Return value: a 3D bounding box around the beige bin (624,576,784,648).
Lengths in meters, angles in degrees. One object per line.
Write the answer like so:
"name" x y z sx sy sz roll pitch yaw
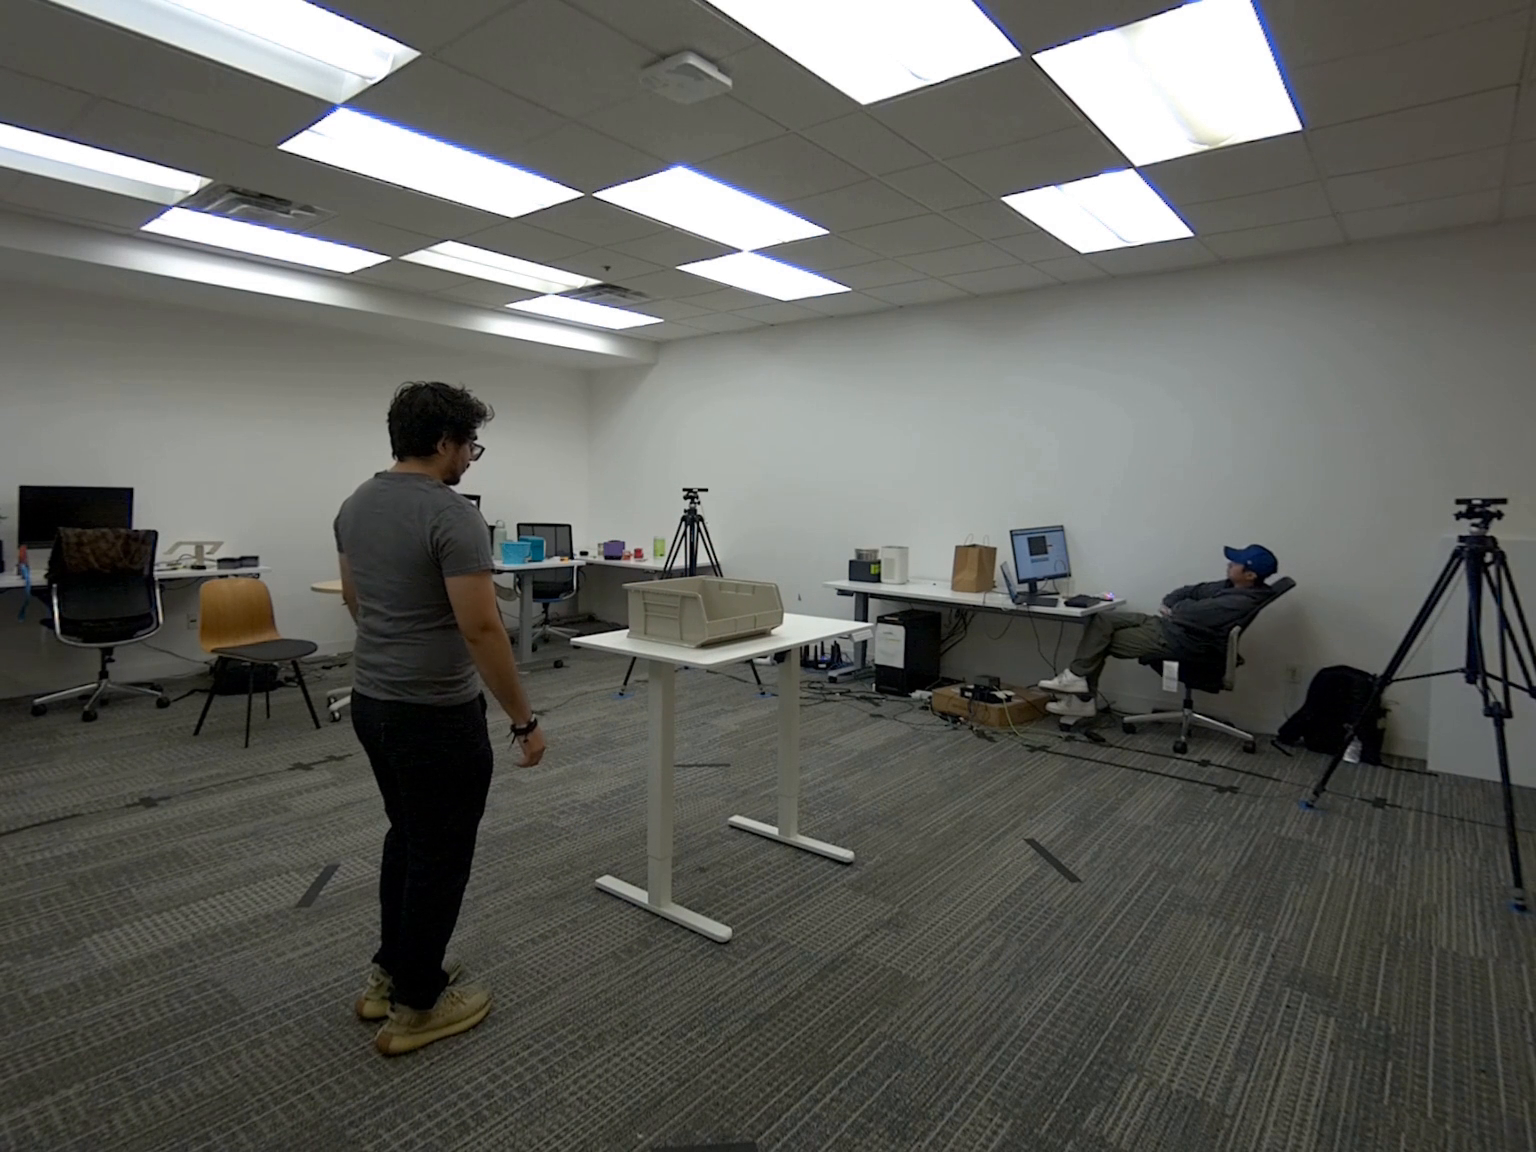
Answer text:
"beige bin" -0.223 0.117 2.928 0.389 0.188 0.410 3 6 38
